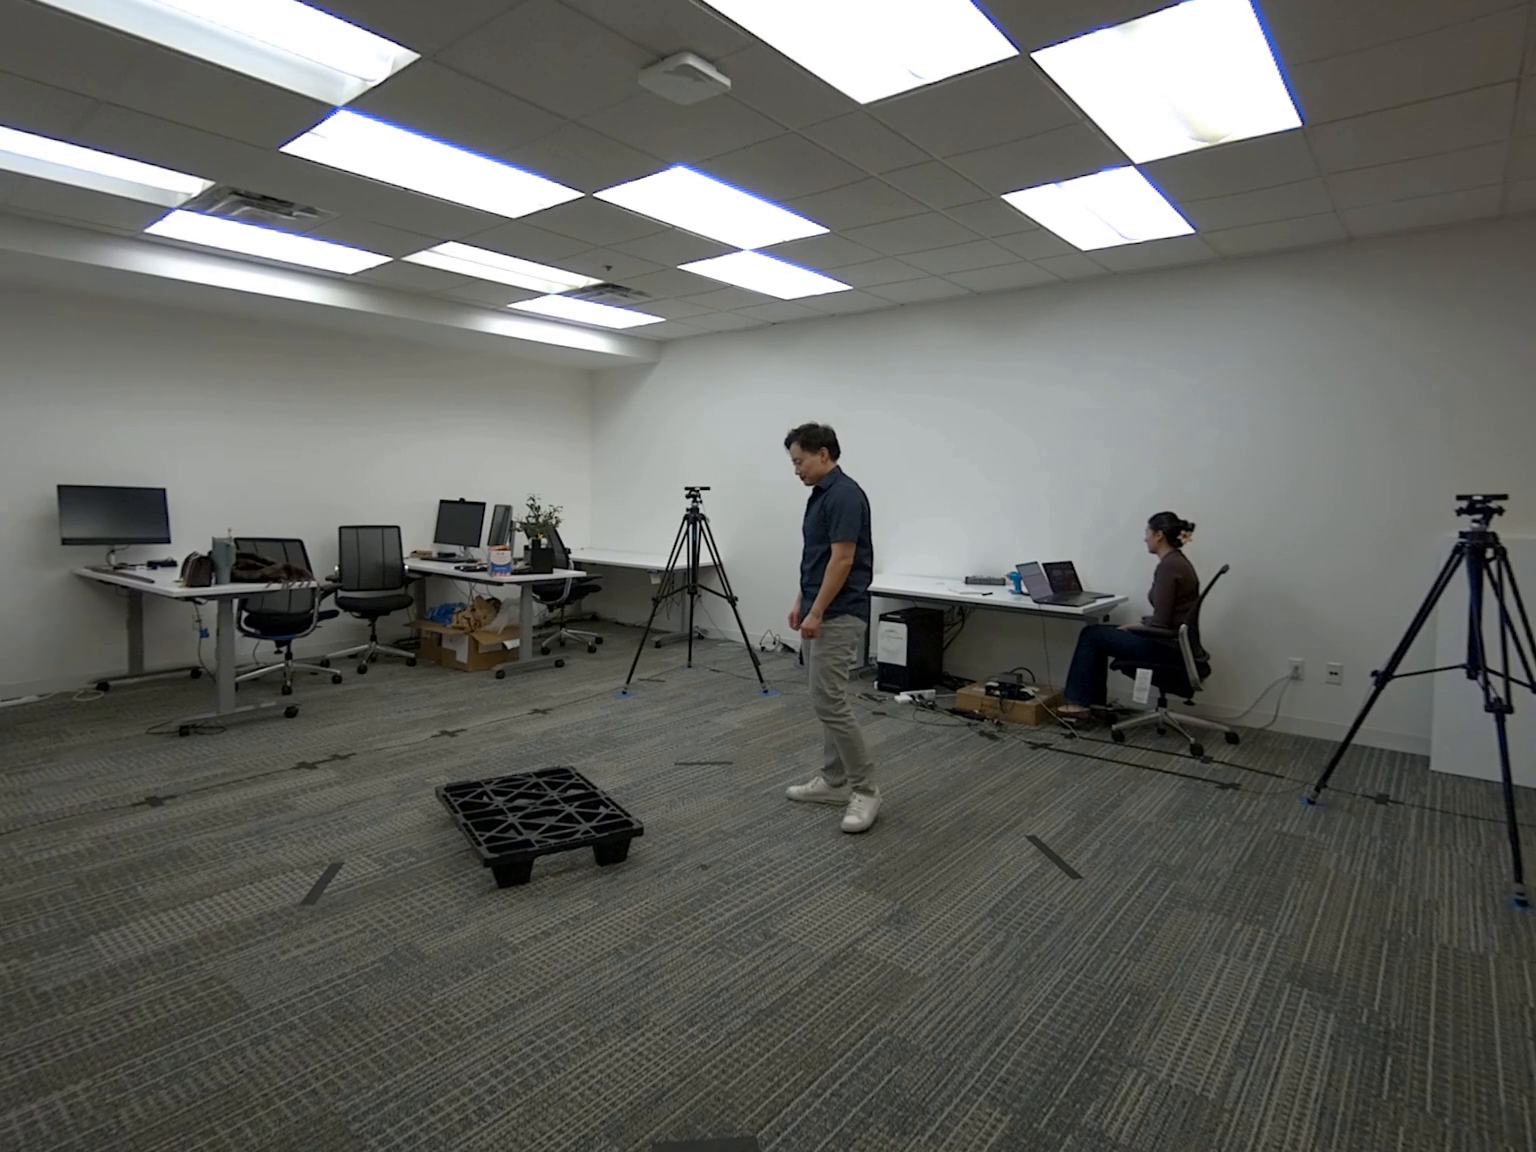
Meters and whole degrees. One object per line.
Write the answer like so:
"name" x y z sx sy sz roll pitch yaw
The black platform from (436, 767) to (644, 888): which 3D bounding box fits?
"black platform" -0.936 0.966 3.345 0.589 0.143 0.831 -4 7 -32
